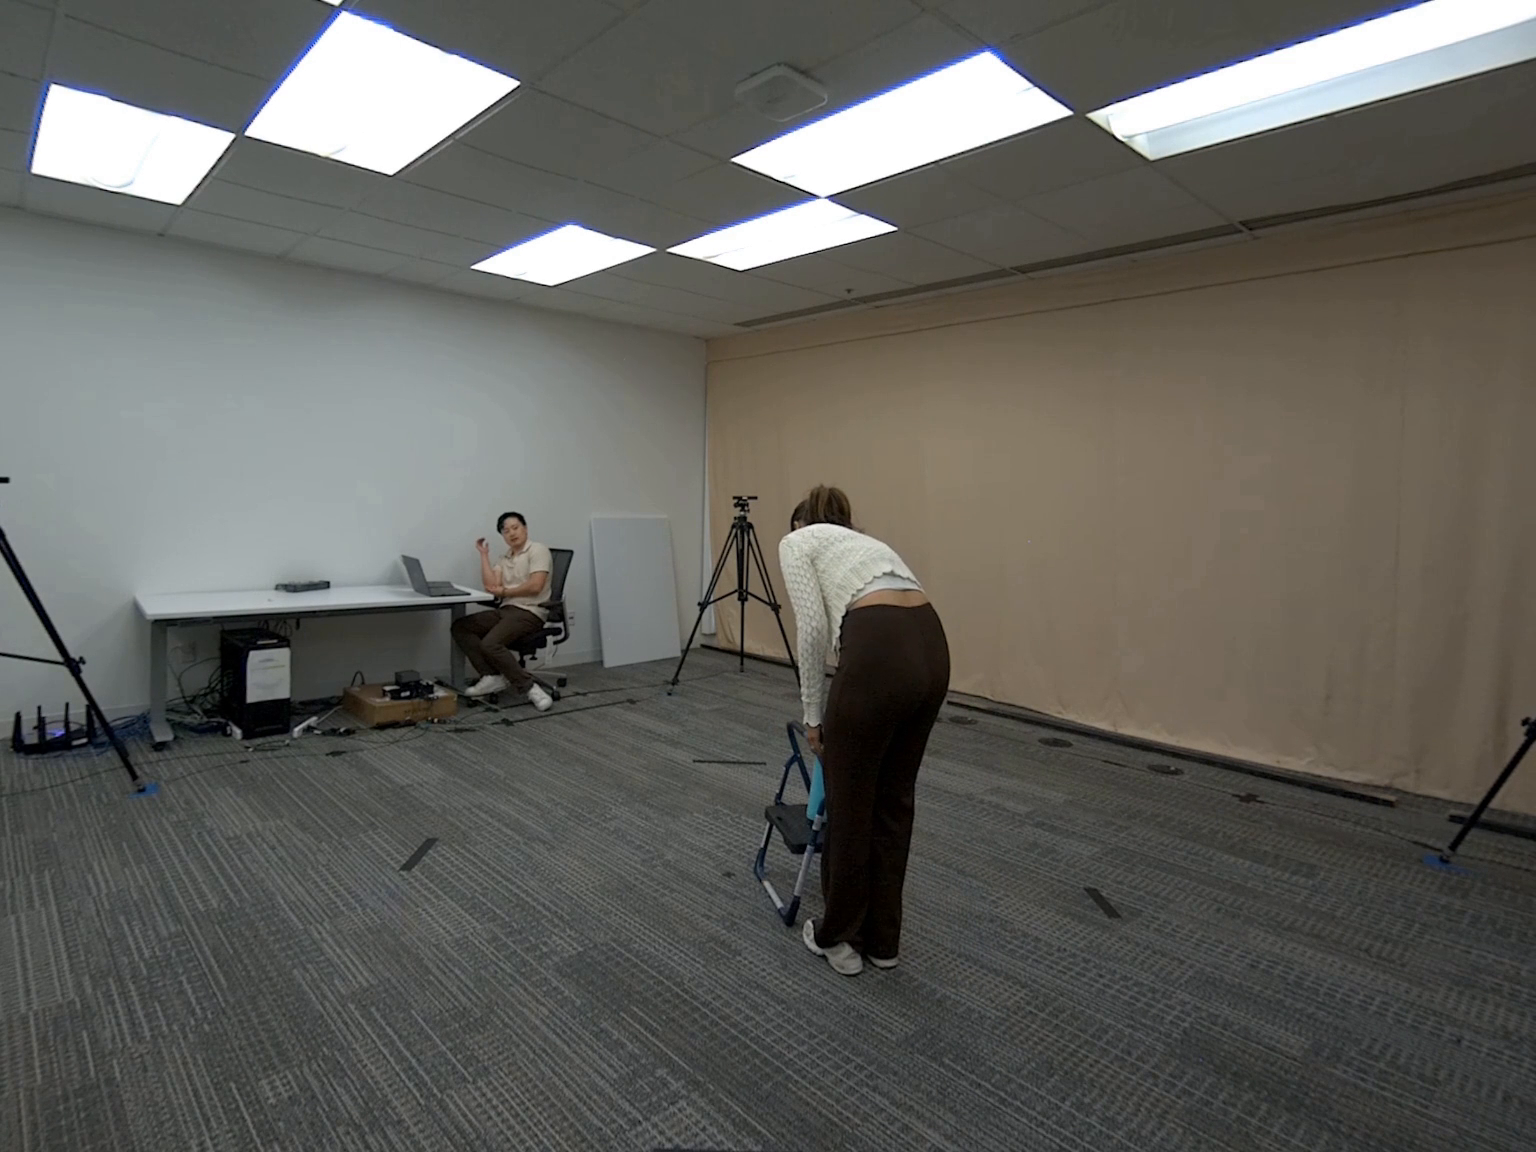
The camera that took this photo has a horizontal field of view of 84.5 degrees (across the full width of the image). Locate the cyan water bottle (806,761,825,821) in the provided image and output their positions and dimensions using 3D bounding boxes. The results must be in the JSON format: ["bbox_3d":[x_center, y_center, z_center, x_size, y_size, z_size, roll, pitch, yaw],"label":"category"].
[{"bbox_3d":[0.203,0.714,2.938,0.092,0.283,0.092,8,1,-2],"label":"cyan water bottle"}]
